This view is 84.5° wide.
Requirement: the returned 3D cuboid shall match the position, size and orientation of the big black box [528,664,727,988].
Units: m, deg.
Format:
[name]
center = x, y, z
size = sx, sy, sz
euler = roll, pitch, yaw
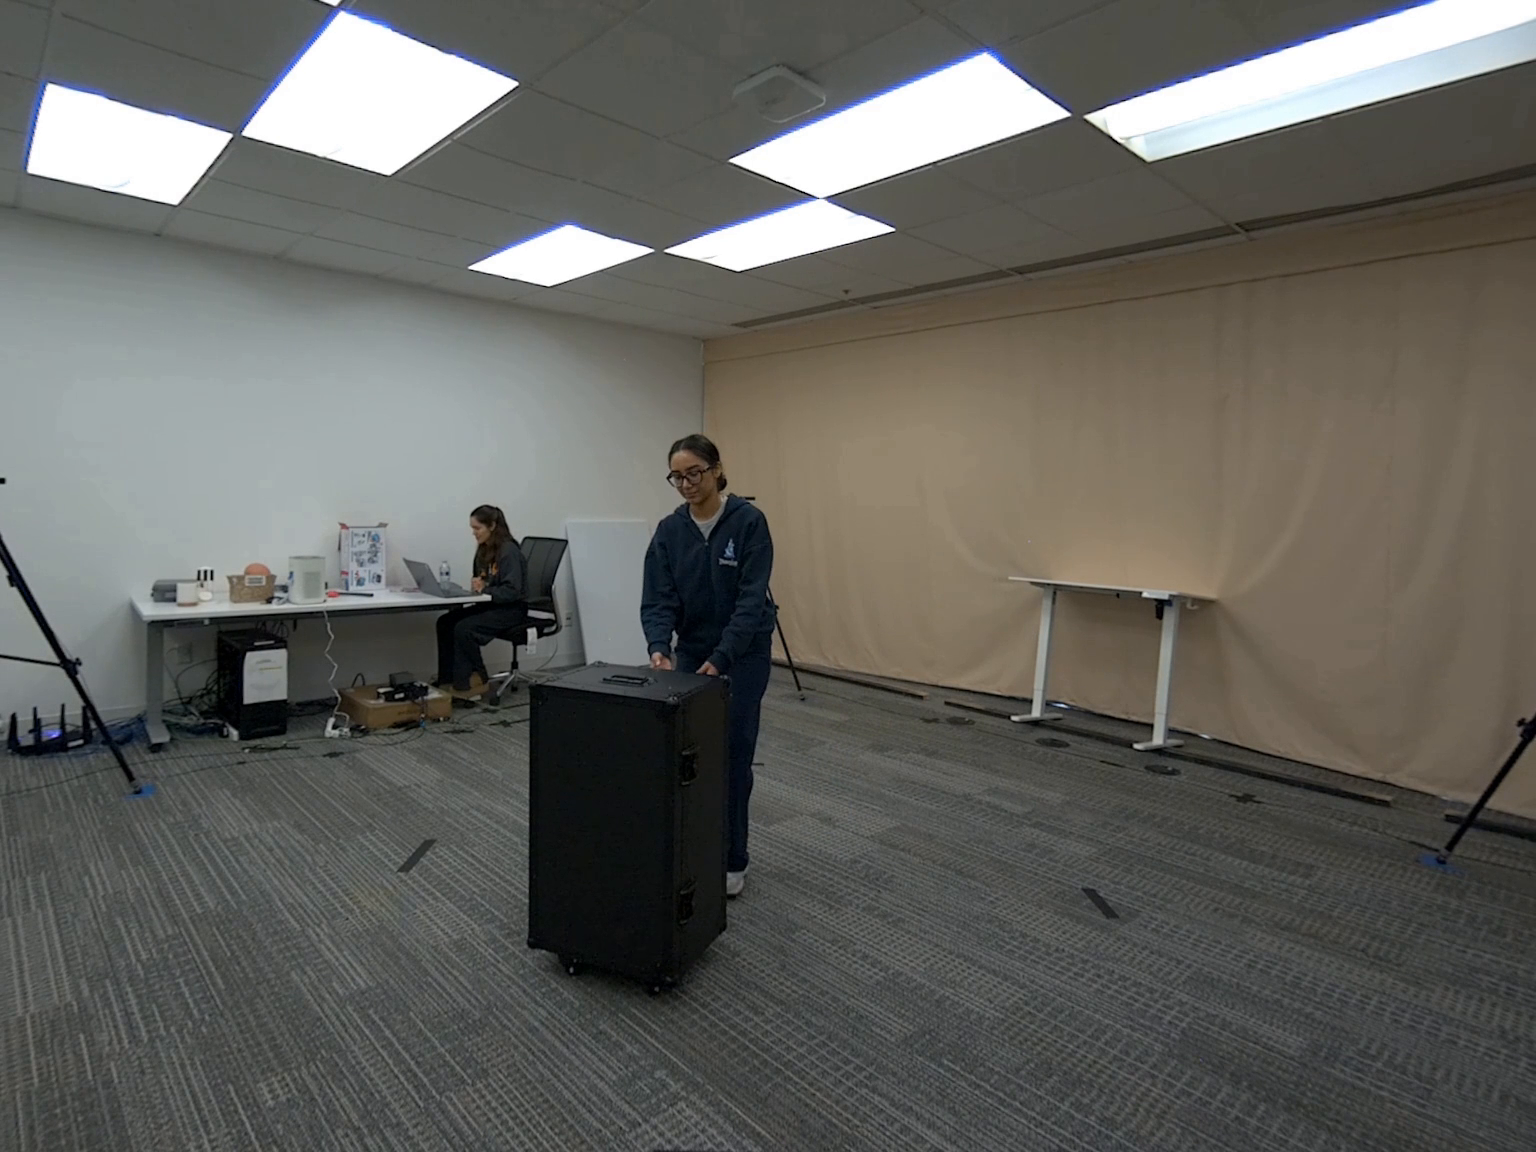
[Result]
[big black box]
center = -0.418, 0.733, 2.508
size = 0.530, 0.860, 0.390
euler = 2, 2, 23
